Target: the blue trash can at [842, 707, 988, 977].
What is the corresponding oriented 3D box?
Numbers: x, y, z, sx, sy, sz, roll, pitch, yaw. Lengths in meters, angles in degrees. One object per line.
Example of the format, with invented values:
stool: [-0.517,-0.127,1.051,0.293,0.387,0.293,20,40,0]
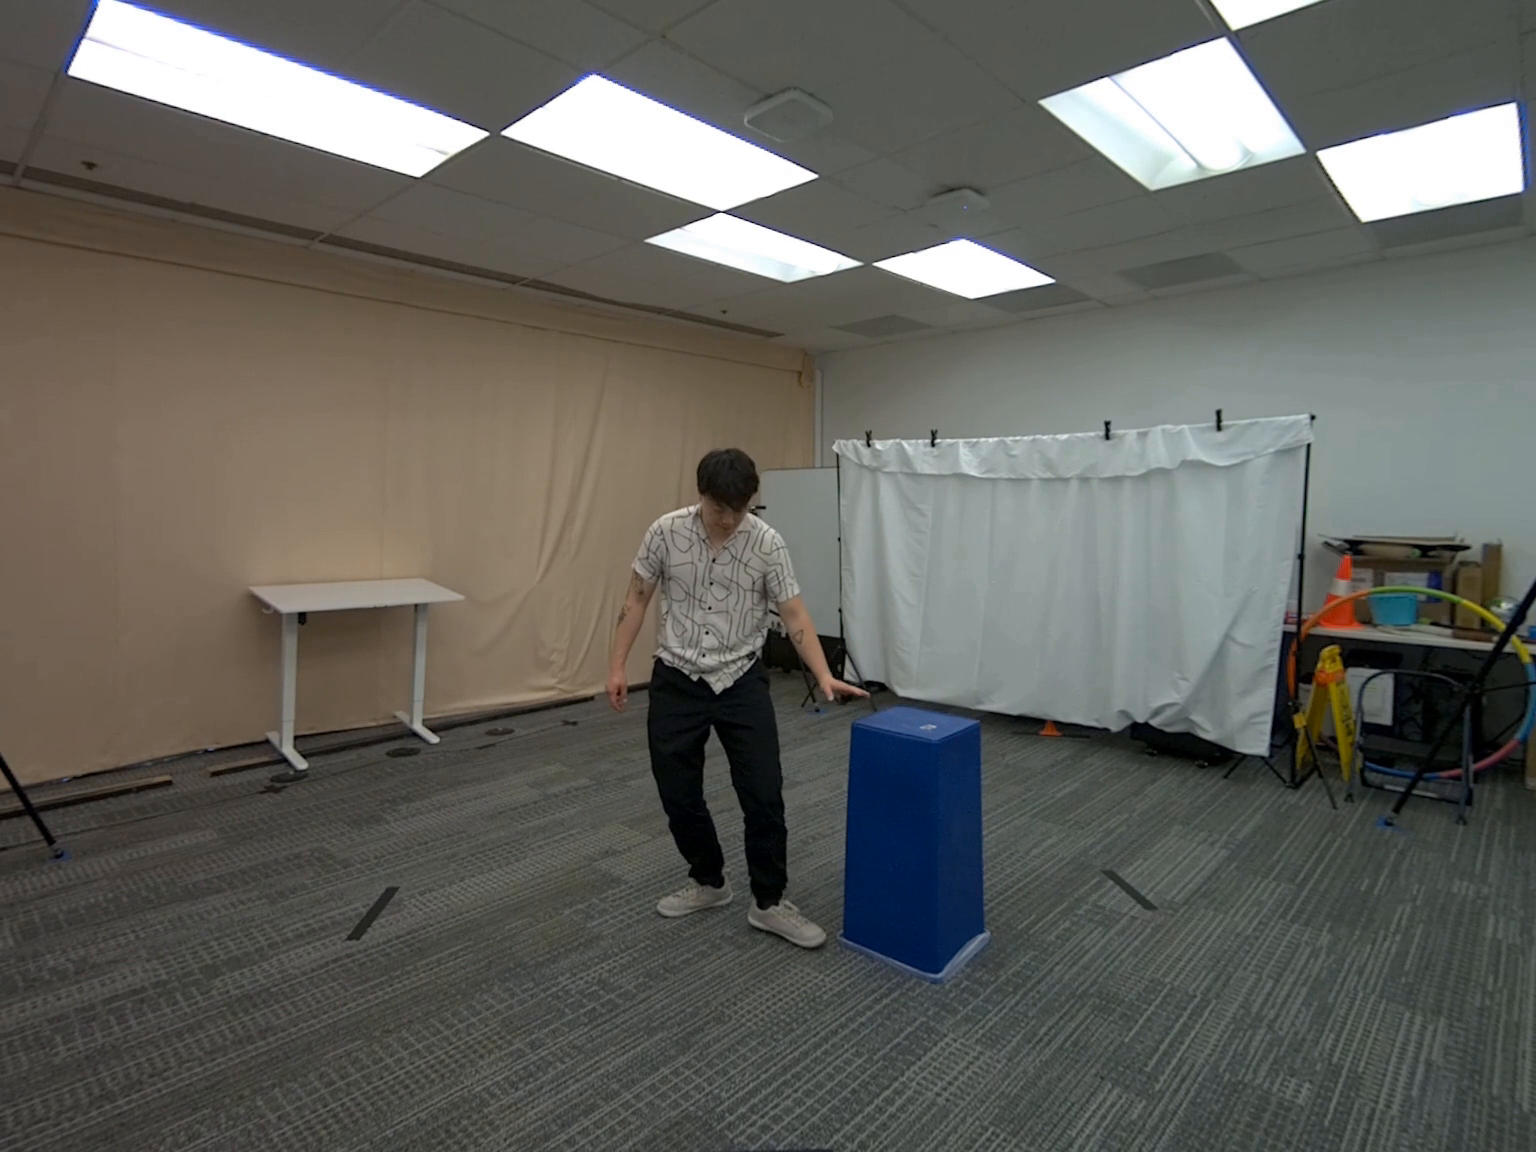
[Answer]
blue trash can: [0.477,0.815,2.665,0.386,0.711,0.367,4,6,40]
